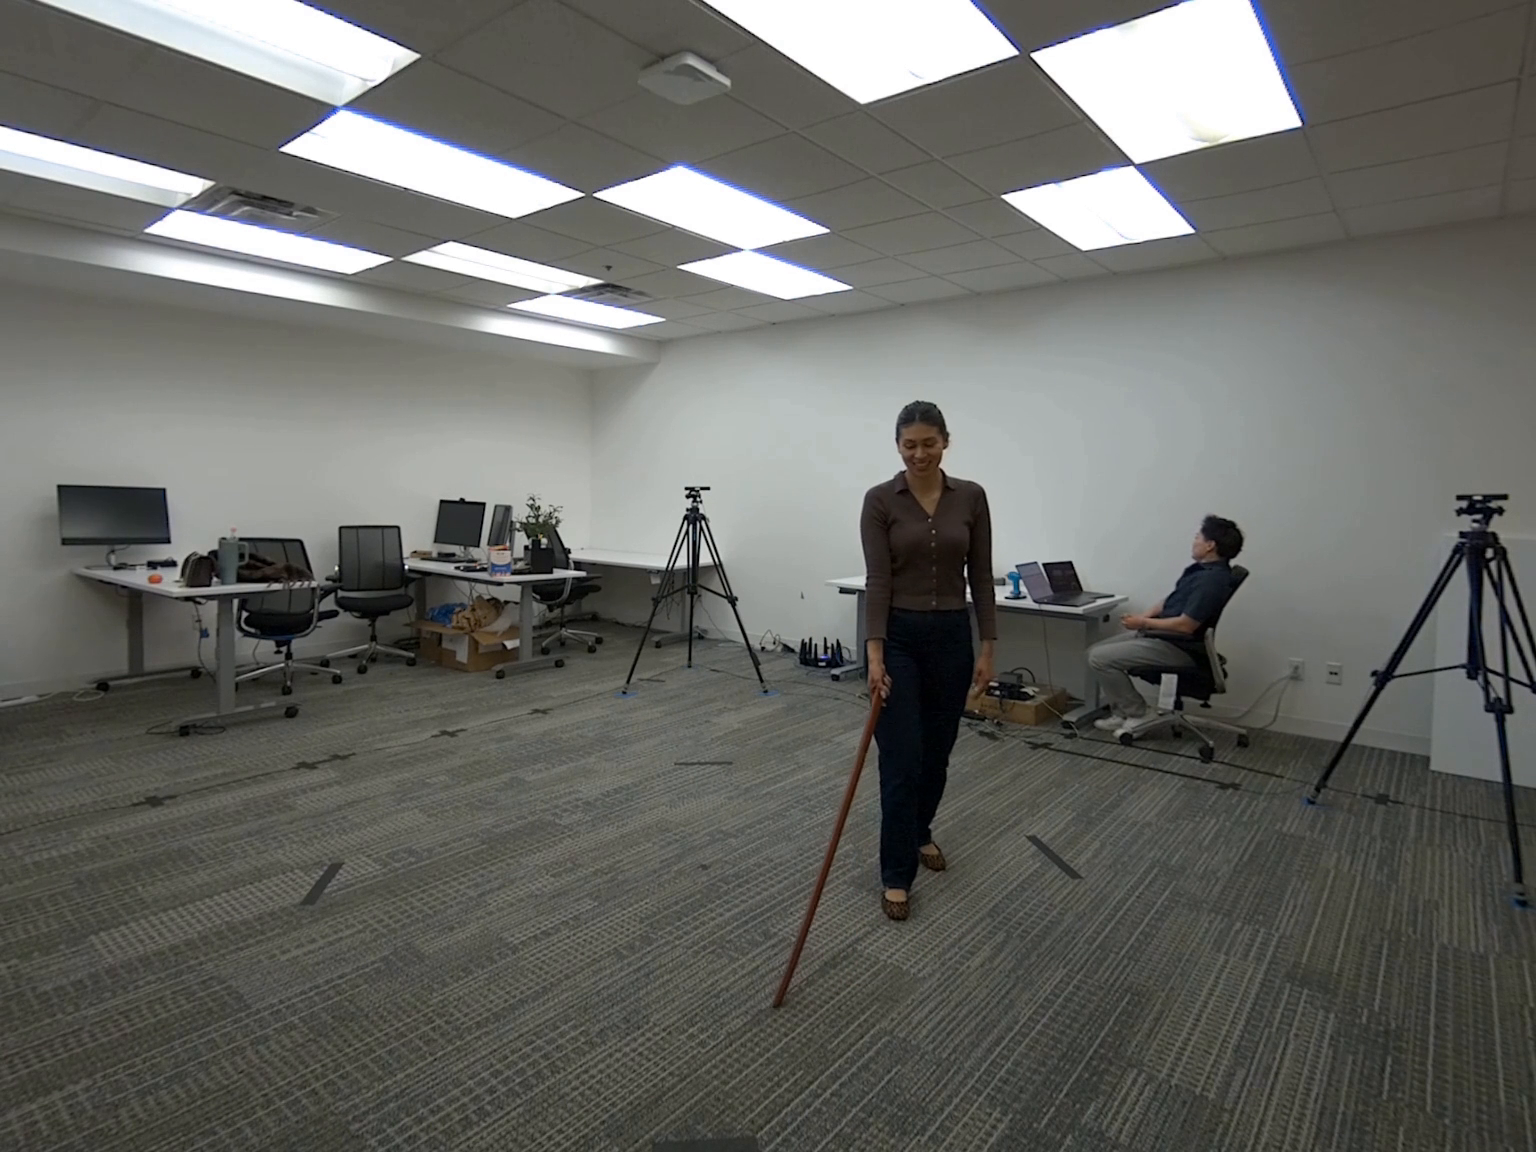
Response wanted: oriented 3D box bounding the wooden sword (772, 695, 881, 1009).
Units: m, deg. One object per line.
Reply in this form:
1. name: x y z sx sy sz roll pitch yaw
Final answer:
1. wooden sword: 0.204 0.750 2.533 0.052 1.036 0.023 12 -32 19
